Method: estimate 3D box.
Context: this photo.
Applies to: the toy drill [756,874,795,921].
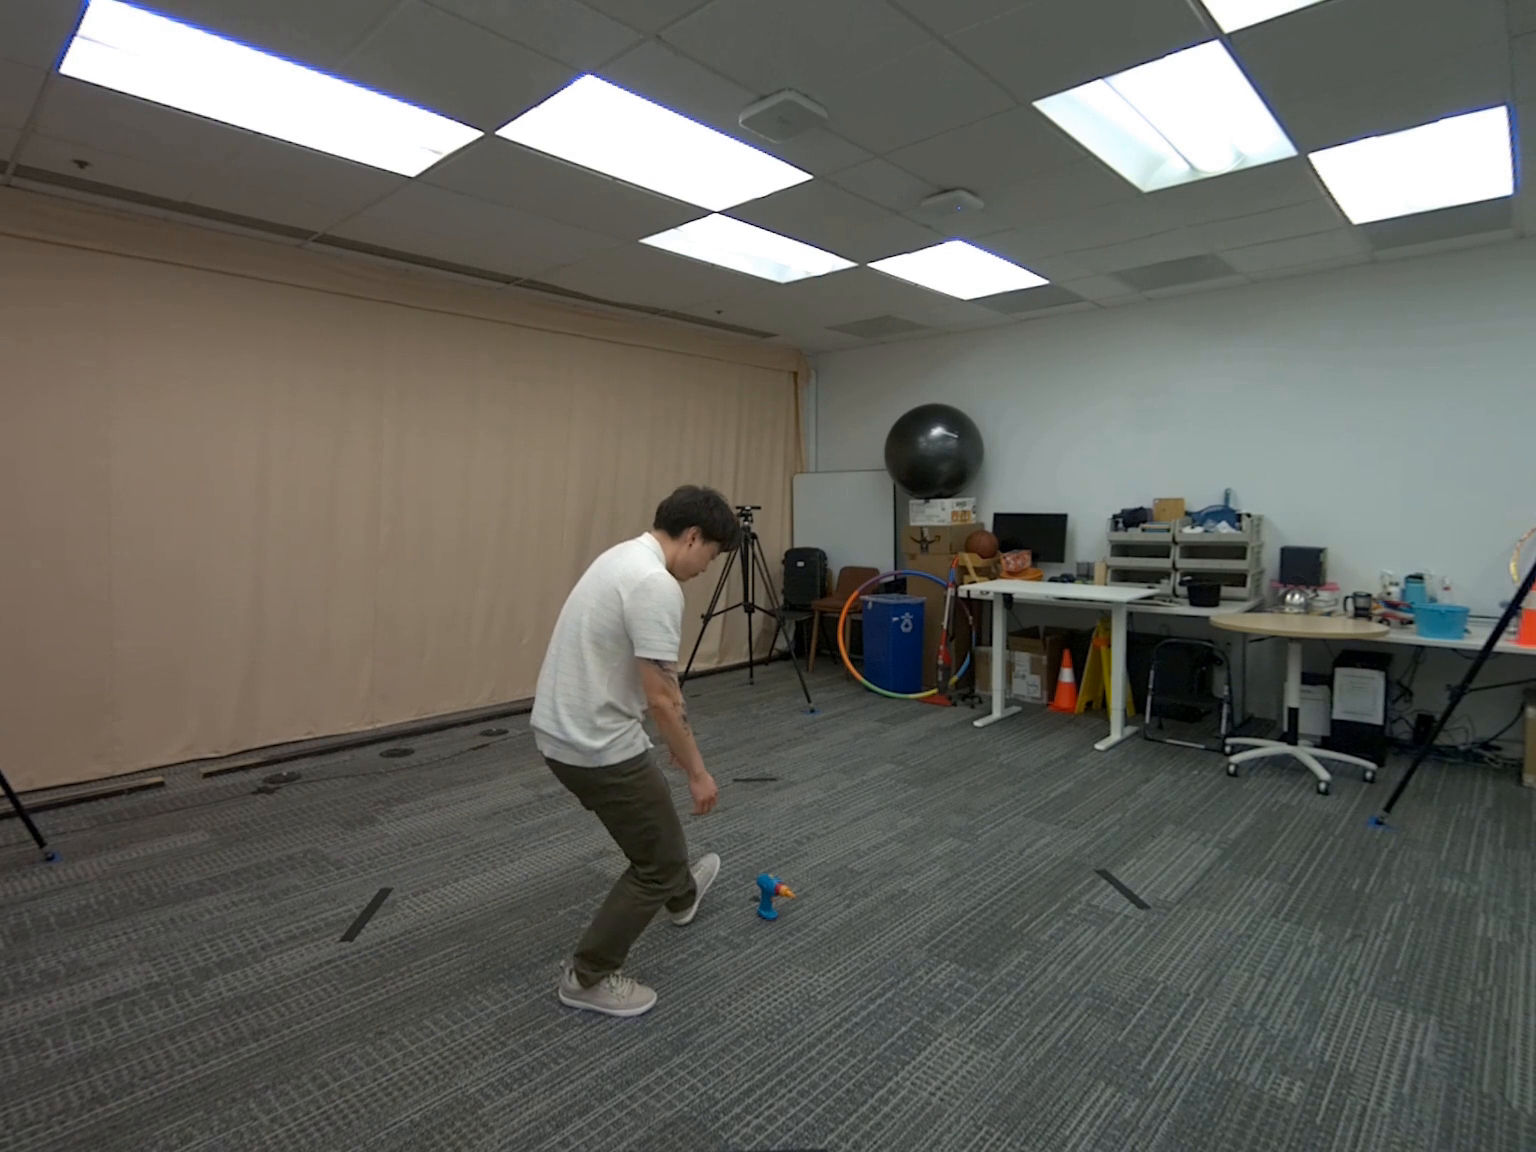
[{"bbox_3d":[0.028,1.091,2.820,0.175,0.145,0.059,7,7,43],"label":"toy drill"}]
